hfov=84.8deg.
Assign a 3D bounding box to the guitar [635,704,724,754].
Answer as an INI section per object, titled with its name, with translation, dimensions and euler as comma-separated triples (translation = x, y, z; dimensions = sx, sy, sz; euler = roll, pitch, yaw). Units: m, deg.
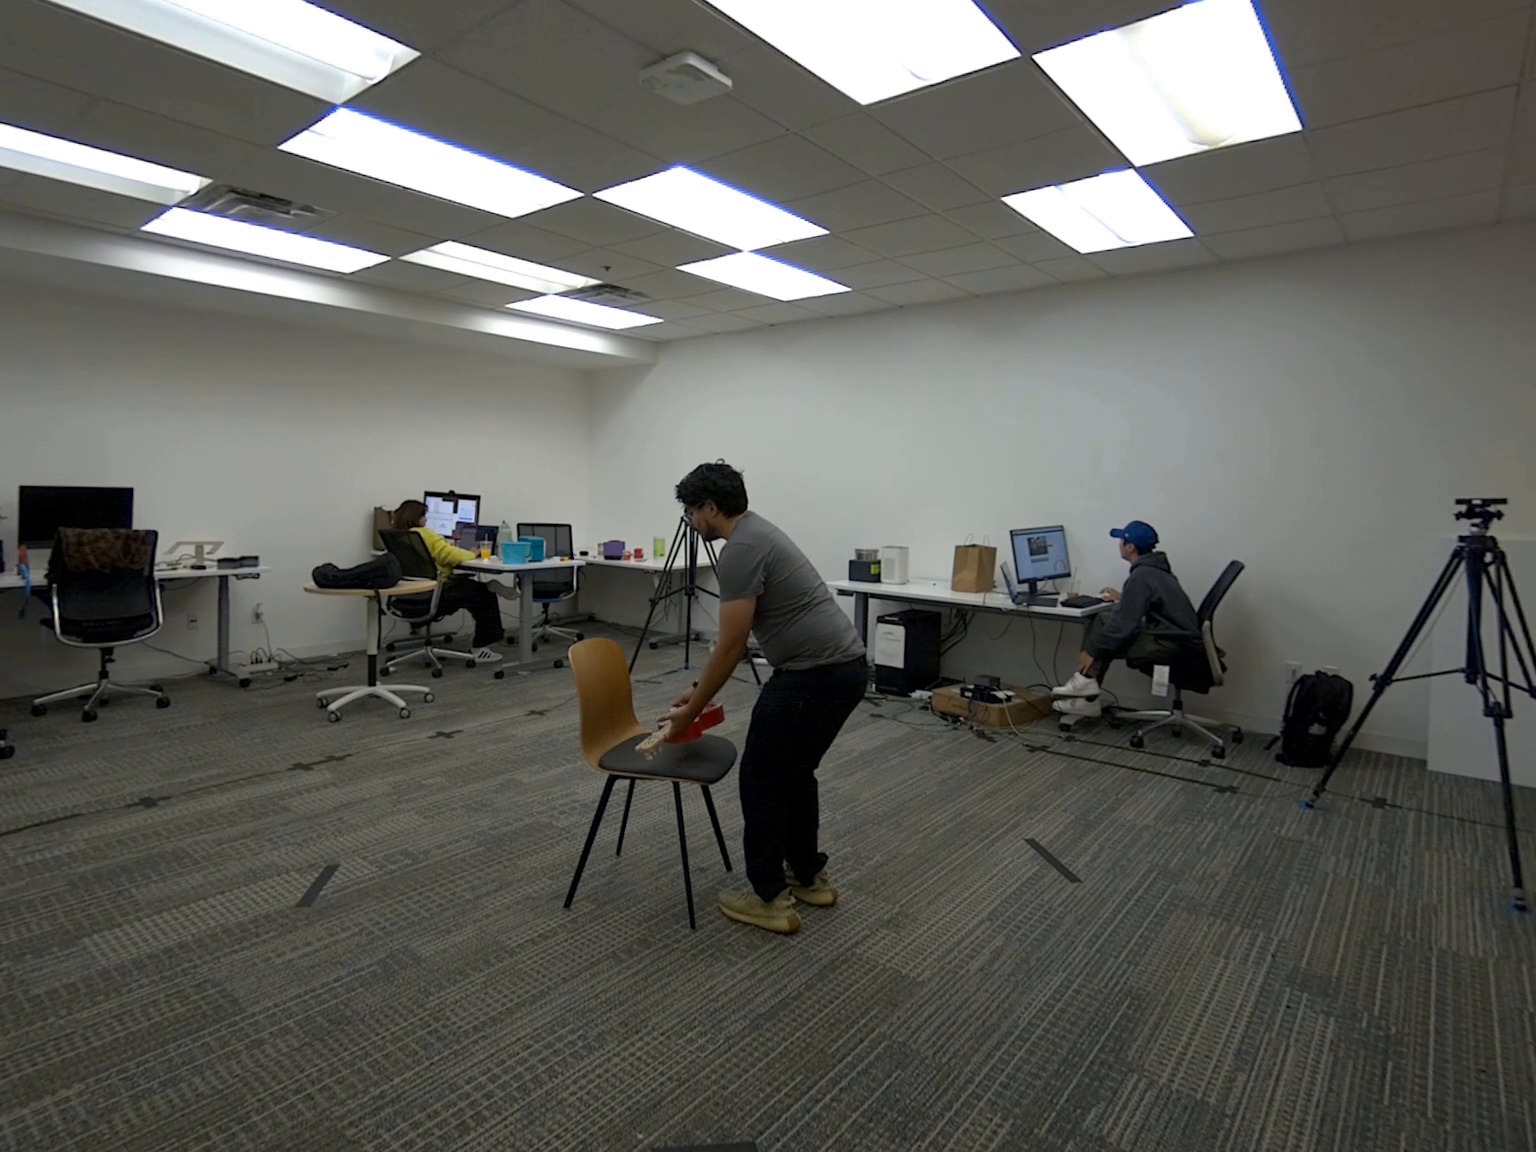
[guitar]
translation = -0.346, 0.509, 2.842
dimensions = 0.198, 0.070, 0.487
euler = -2, 8, 30
